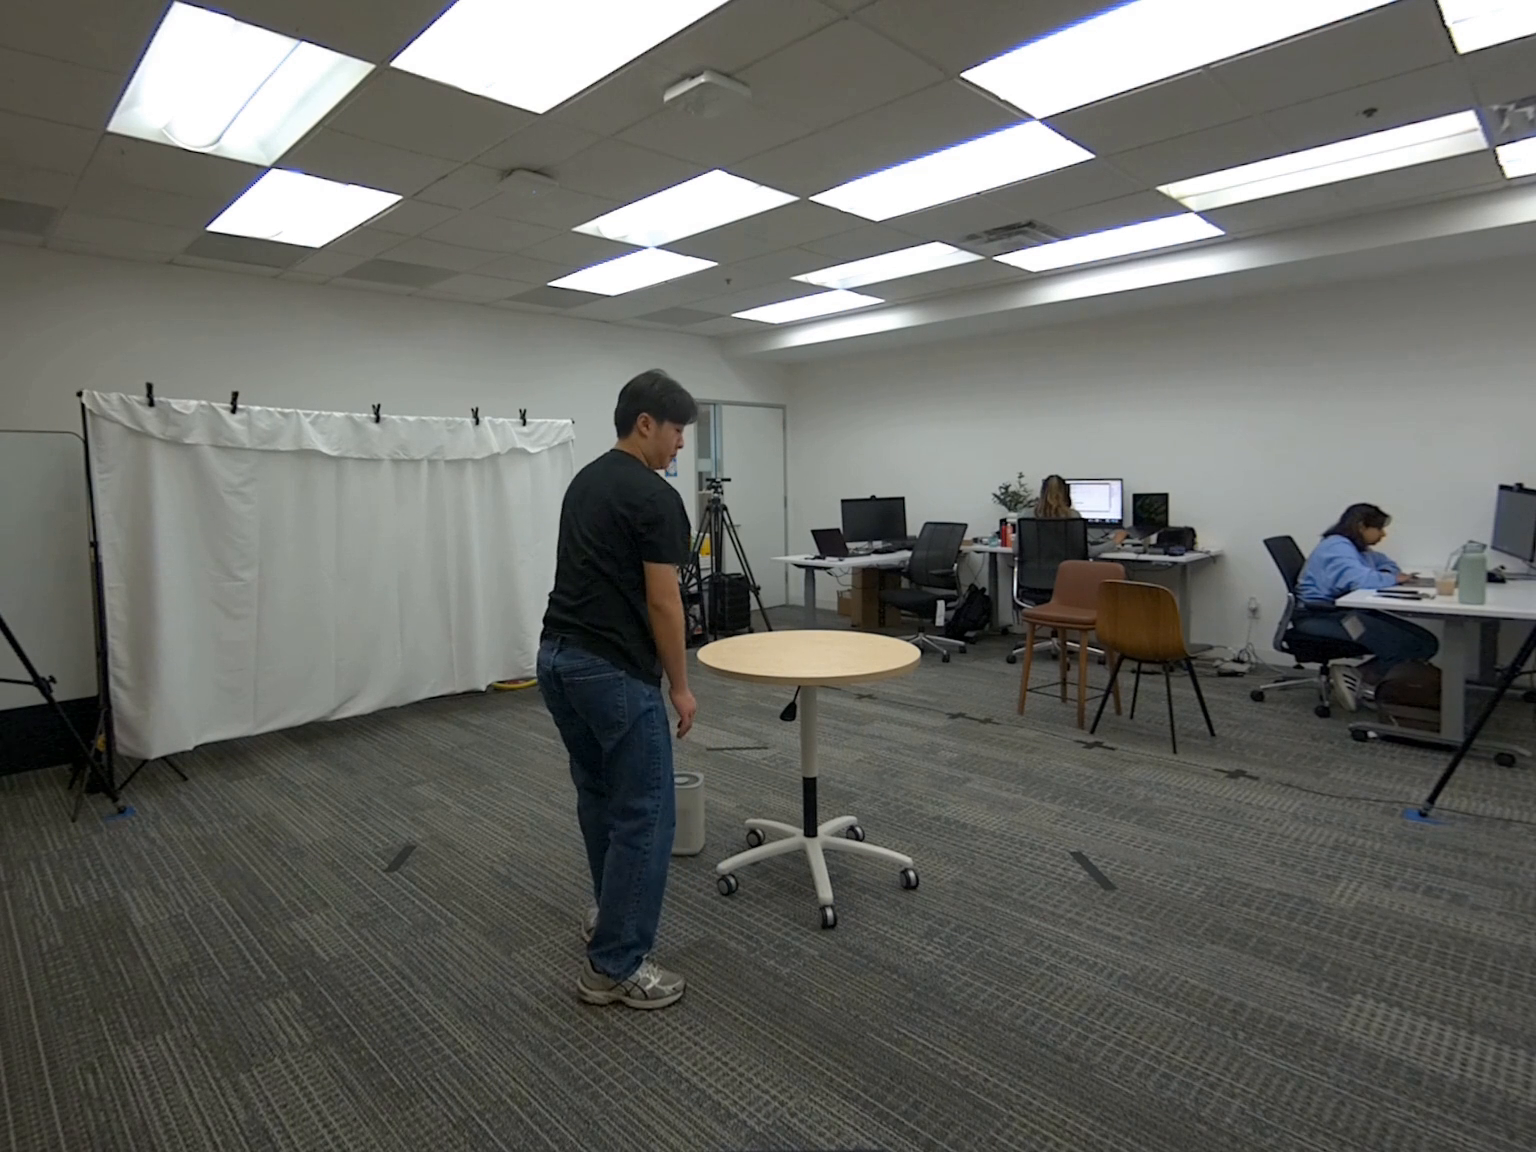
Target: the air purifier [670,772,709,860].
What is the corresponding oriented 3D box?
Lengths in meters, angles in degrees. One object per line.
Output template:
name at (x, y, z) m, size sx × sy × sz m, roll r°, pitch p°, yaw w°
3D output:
air purifier at (-0.325, 0.899, 3.230) m, size 0.172 × 0.264 × 0.170 m, roll -1°, pitch 4°, yaw 5°
